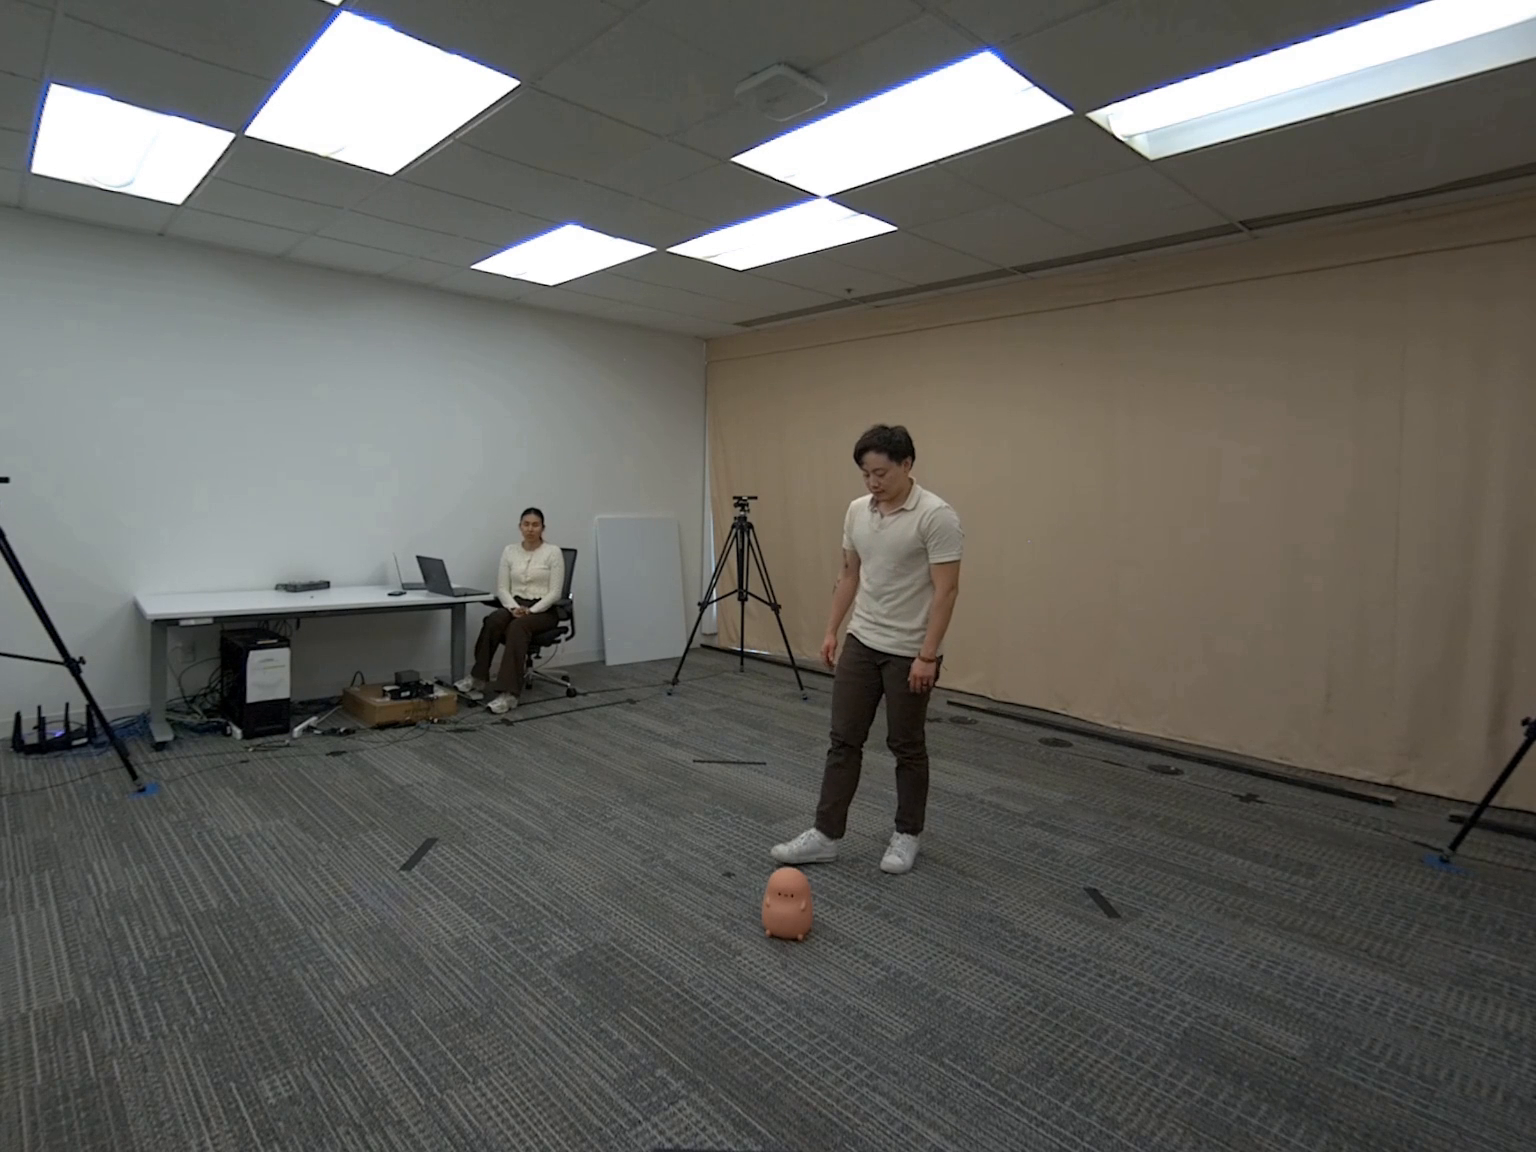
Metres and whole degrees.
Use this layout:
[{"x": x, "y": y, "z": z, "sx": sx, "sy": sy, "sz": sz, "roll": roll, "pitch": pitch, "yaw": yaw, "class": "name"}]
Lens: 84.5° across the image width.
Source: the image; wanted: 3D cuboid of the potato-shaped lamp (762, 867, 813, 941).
[{"x": 0.059, "y": 1.046, "z": 2.708, "sx": 0.166, "sy": 0.197, "sz": 0.170, "roll": 5, "pitch": 4, "yaw": 12, "class": "potato-shaped lamp"}]
